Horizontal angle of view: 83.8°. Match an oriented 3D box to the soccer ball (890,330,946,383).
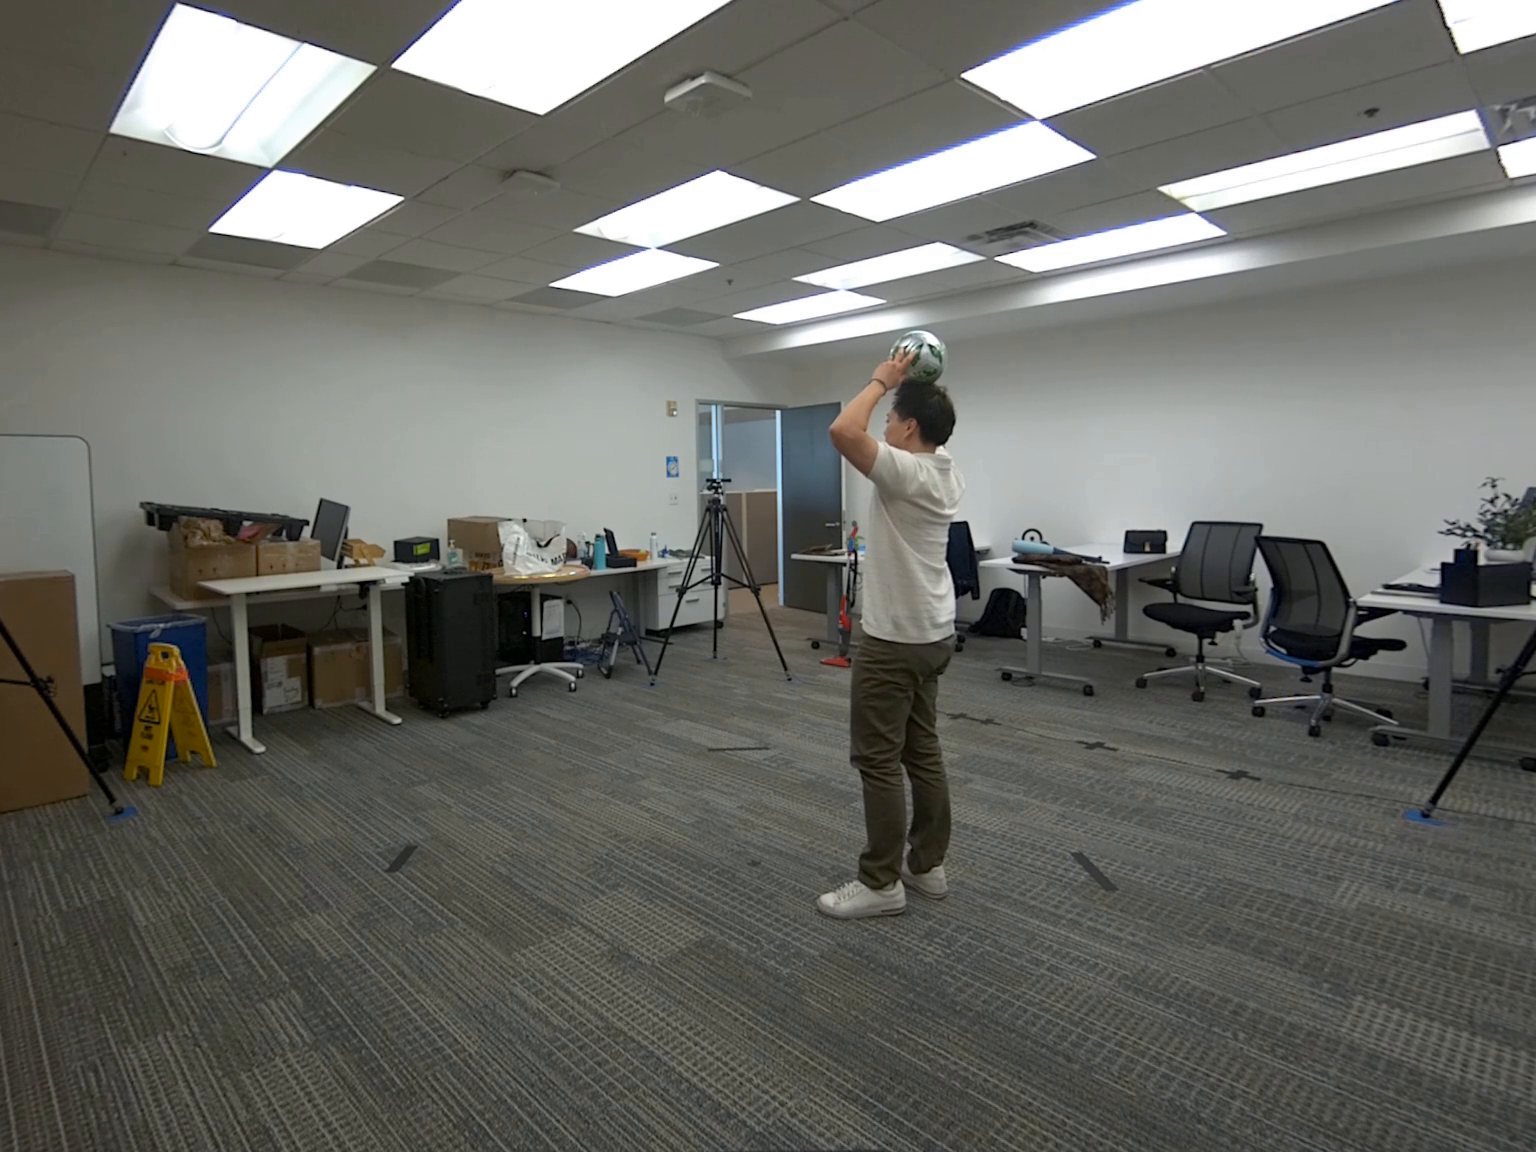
[{"bbox_3d":[0.493,-0.707,2.809,0.187,0.187,0.188,-1,5,-2],"label":"soccer ball"}]
